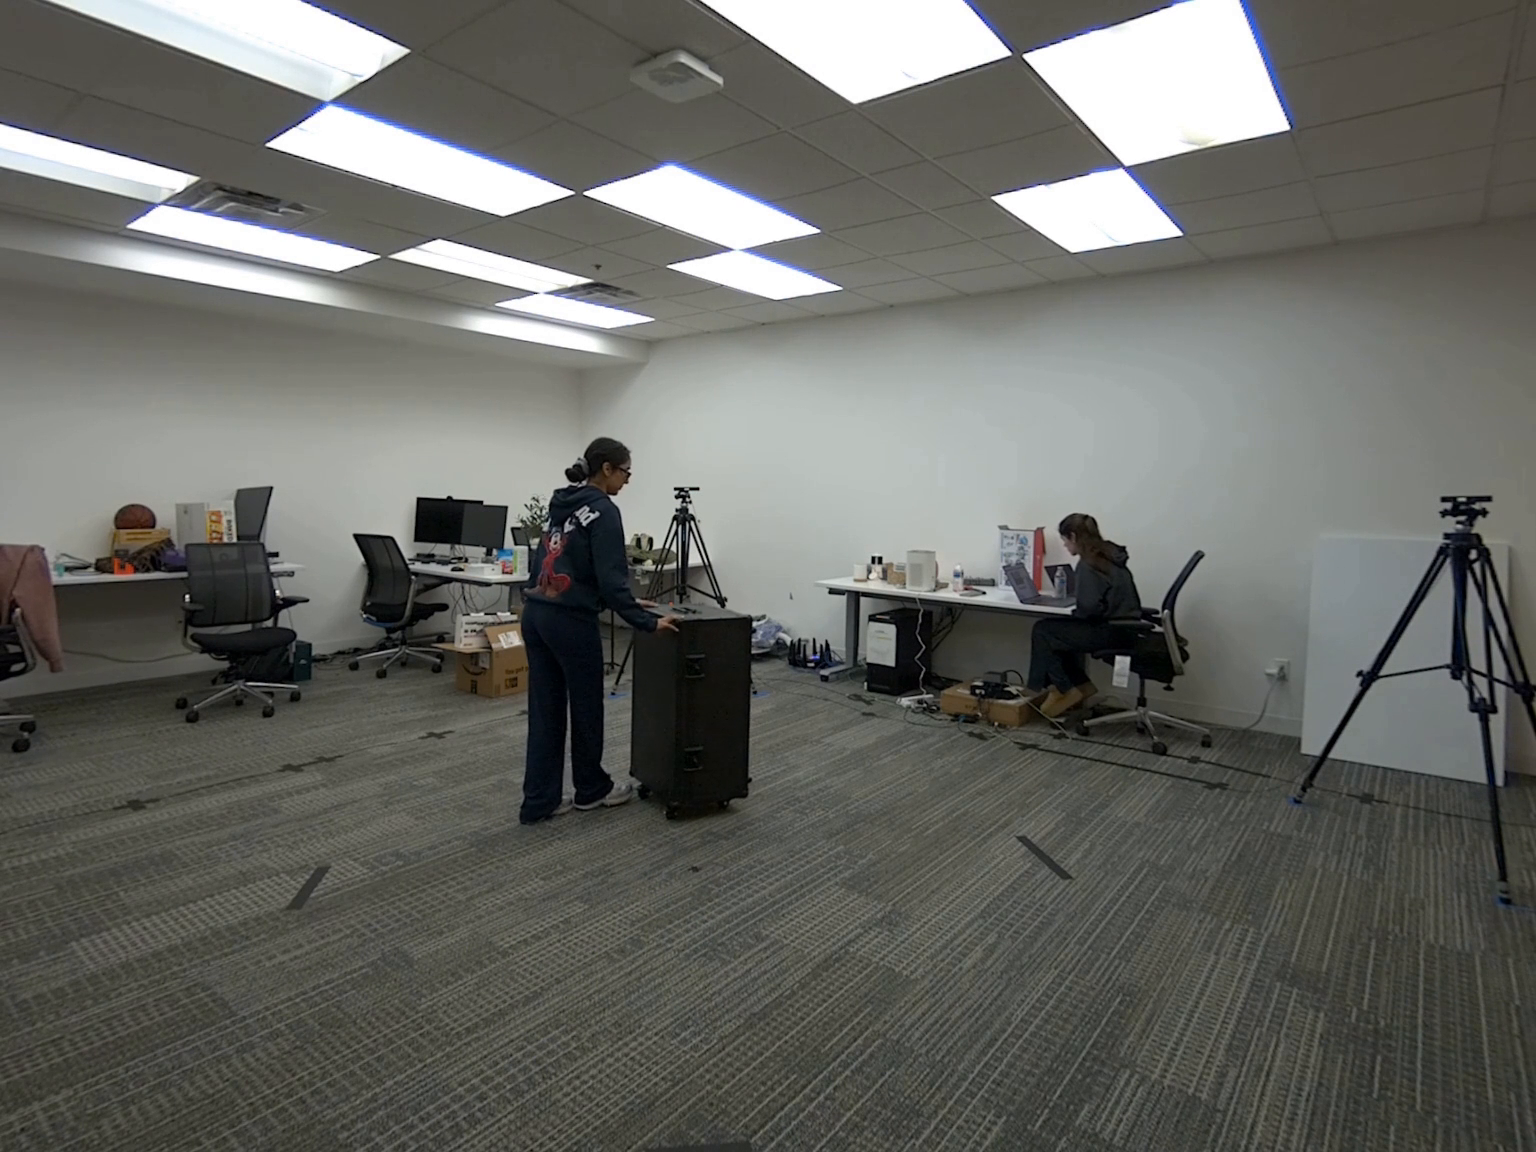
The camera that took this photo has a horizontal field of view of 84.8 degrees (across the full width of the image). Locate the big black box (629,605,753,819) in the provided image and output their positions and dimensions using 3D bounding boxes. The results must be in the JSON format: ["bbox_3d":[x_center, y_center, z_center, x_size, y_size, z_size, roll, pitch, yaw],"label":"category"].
[{"bbox_3d":[-0.355,0.576,3.774,0.385,0.860,0.537,1,3,-29],"label":"big black box"}]
